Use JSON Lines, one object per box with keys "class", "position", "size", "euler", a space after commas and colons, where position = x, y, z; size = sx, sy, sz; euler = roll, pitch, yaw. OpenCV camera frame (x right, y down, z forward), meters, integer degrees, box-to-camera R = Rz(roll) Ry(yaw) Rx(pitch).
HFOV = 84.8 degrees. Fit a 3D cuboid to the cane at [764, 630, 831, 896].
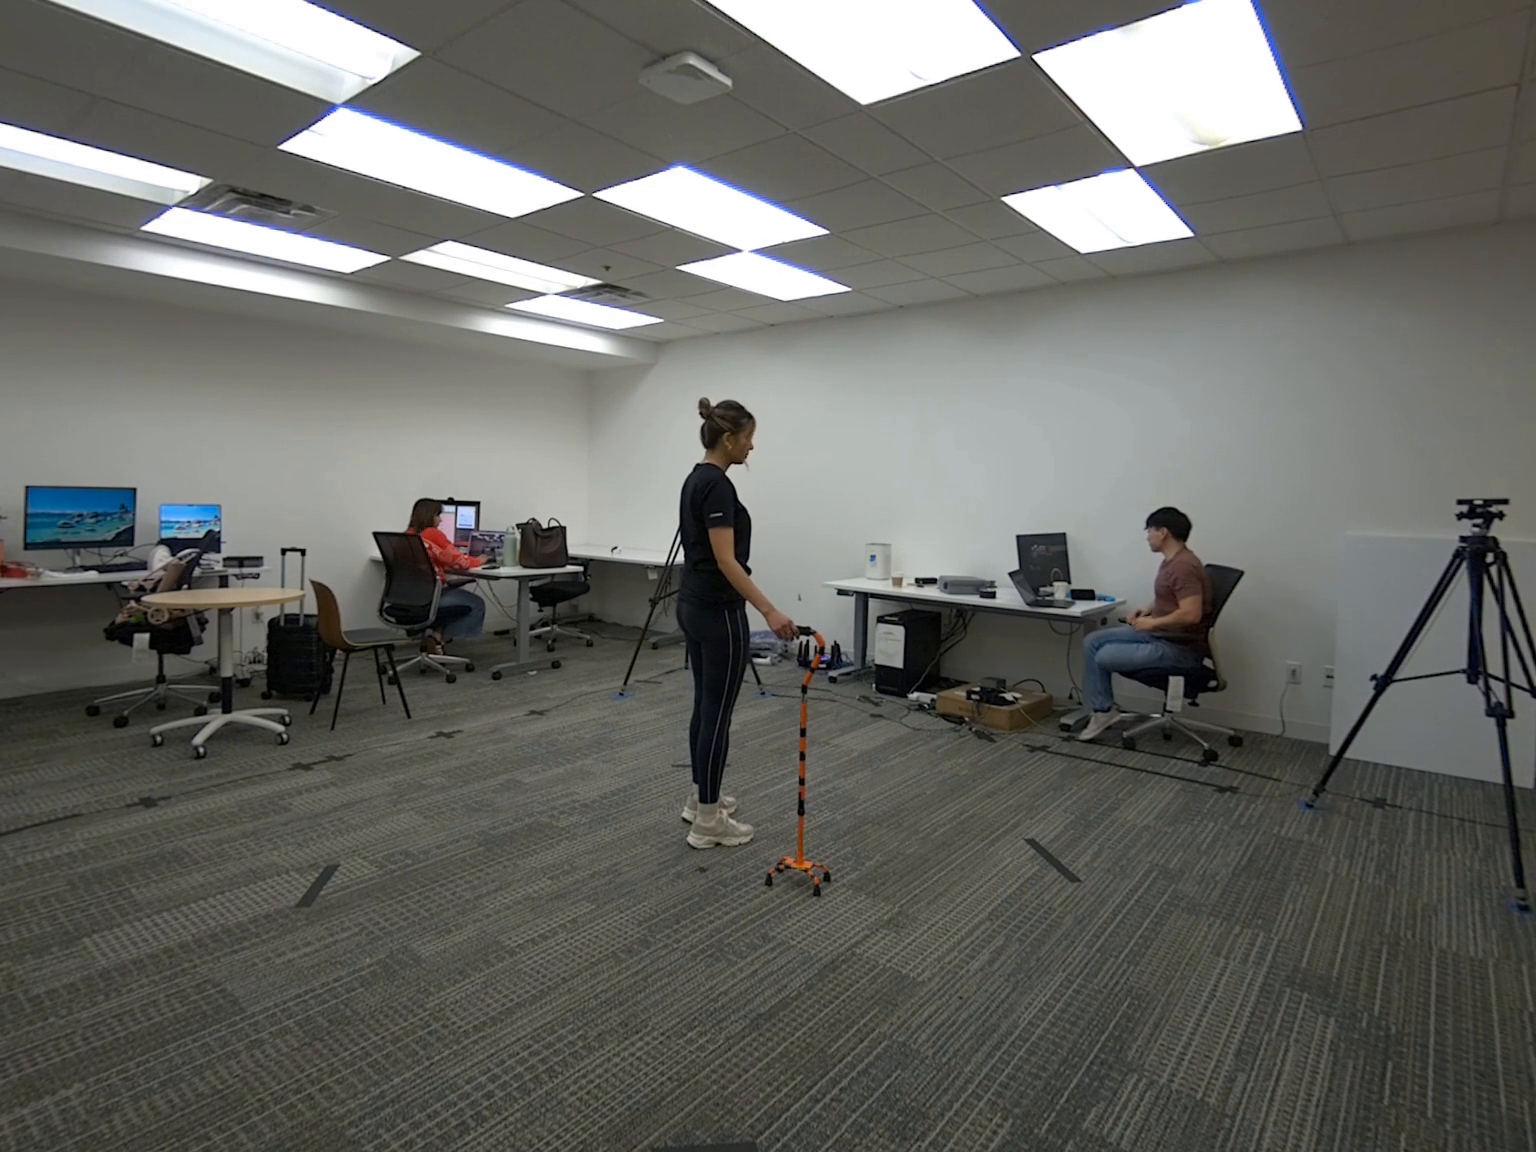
{"class": "cane", "position": [0.114, 0.631, 2.997], "size": [0.210, 0.905, 0.149], "euler": [3, 3, 17]}
